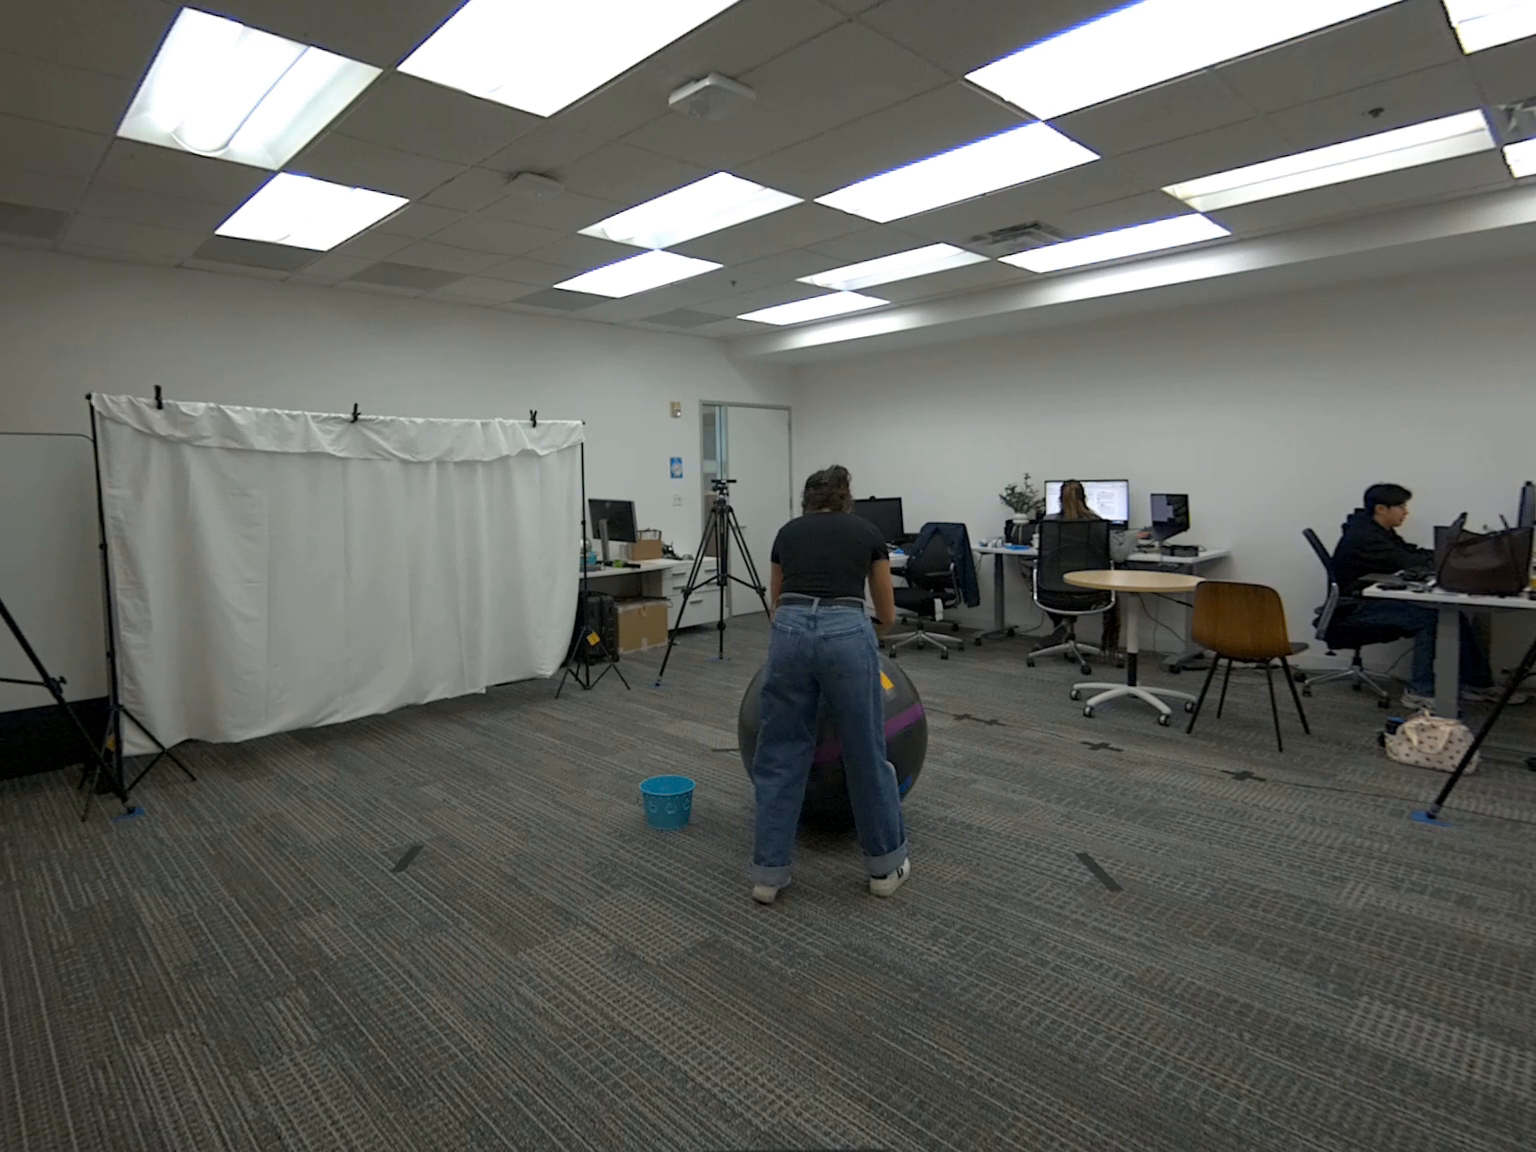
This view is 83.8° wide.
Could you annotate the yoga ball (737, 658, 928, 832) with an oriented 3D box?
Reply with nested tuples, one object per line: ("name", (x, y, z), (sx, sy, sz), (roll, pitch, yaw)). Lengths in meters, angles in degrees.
("yoga ball", (0.255, 0.630, 3.460), (0.757, 0.755, 0.762), (-1, 5, -2))
